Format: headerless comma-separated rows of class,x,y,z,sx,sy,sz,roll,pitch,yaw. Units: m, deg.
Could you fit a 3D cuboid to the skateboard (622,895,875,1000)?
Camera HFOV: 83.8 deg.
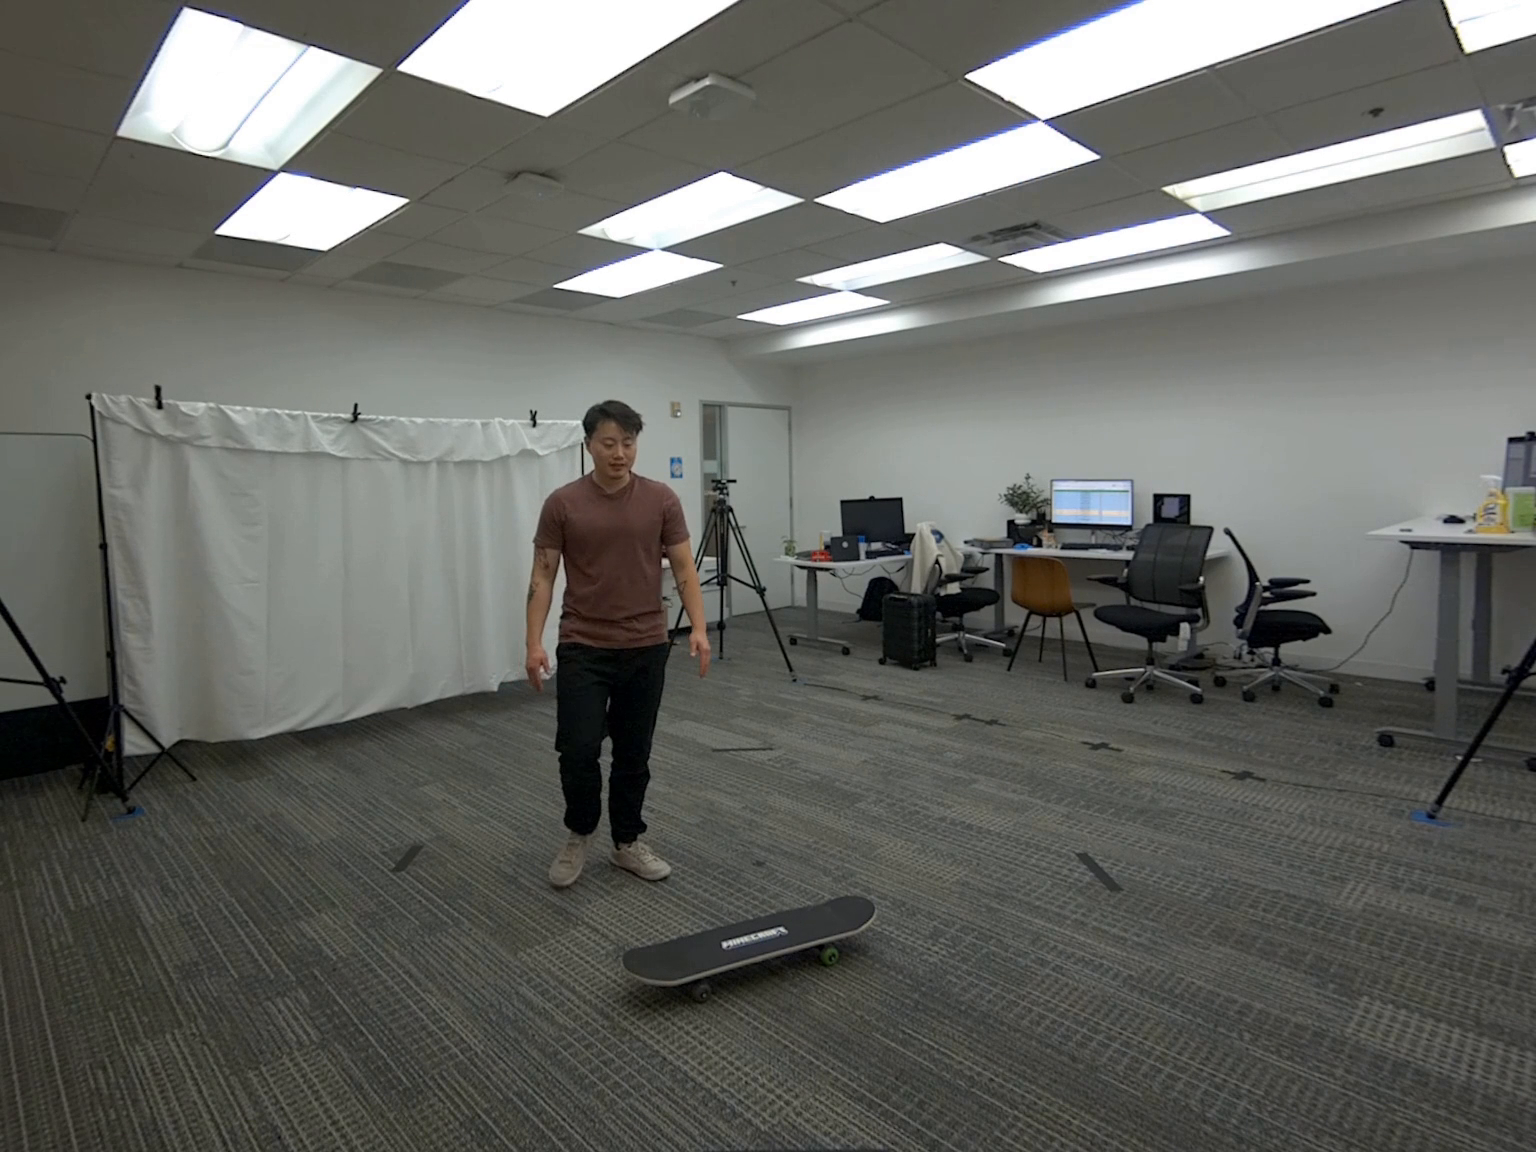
skateboard,-0.031,1.064,2.448,0.770,0.110,0.198,-4,7,-24
